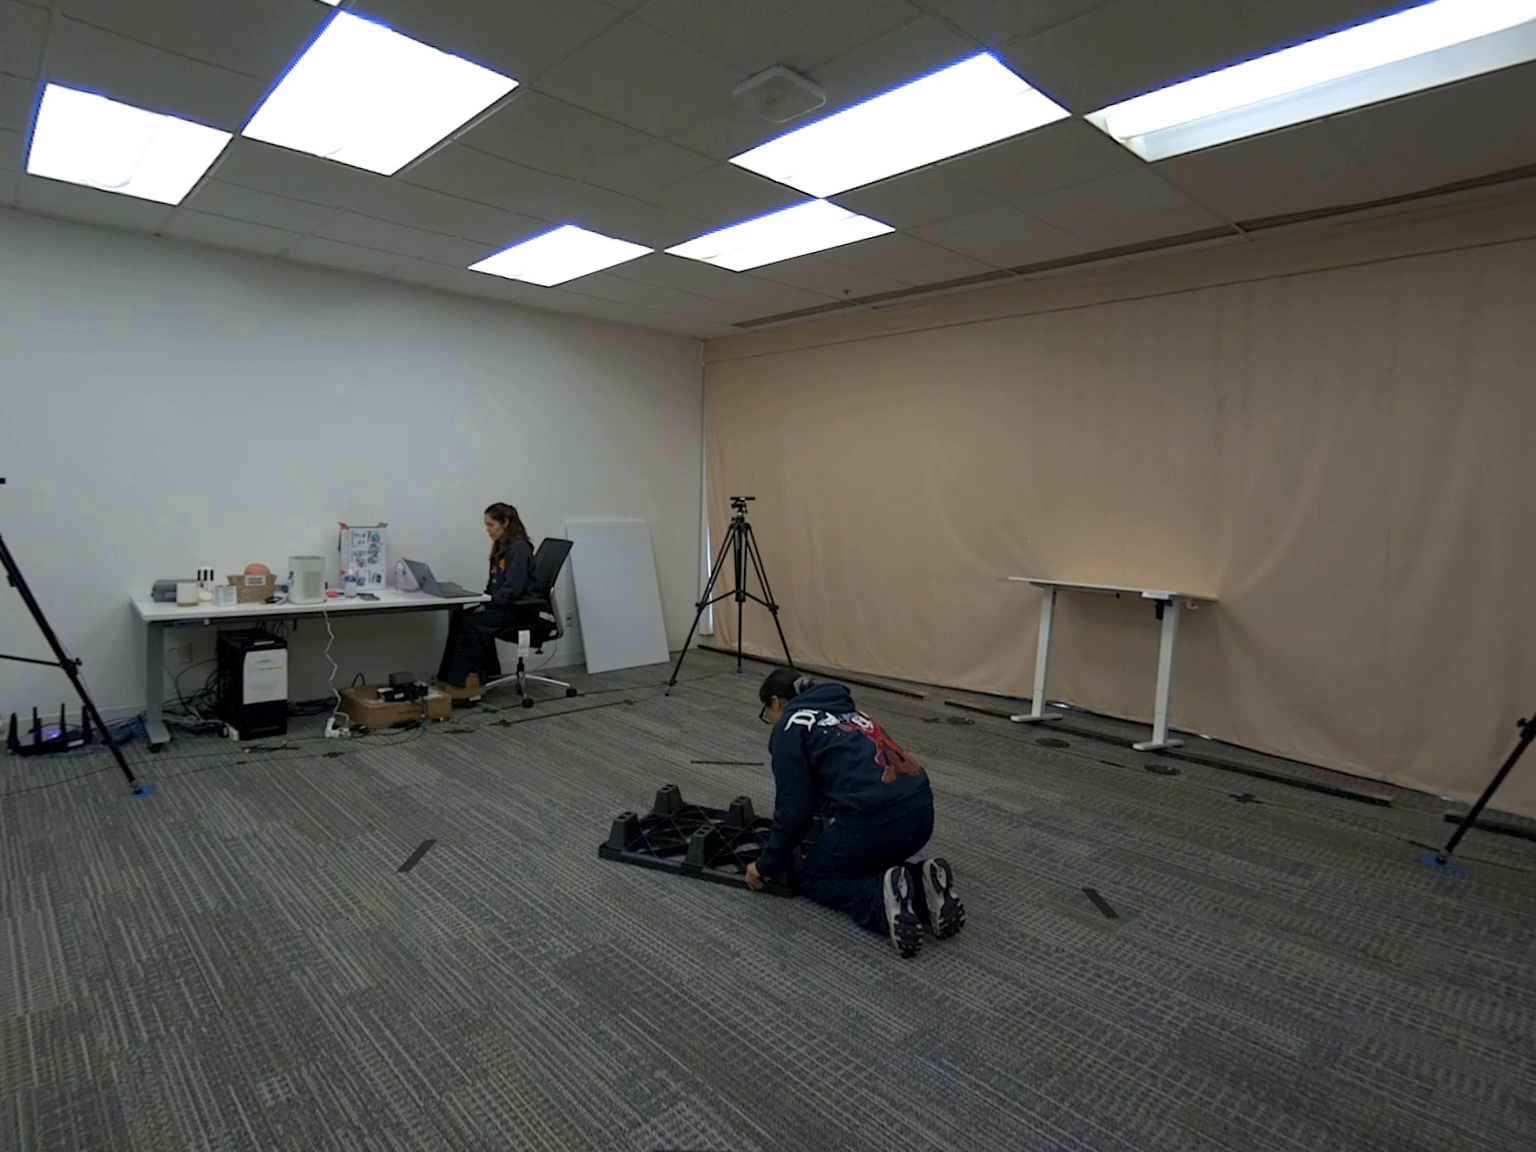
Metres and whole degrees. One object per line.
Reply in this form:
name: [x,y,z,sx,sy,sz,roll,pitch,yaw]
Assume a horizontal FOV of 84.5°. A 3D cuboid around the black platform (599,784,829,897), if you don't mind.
black platform: [-0.186,1.018,3.357,0.820,0.143,0.597,4,7,22]
